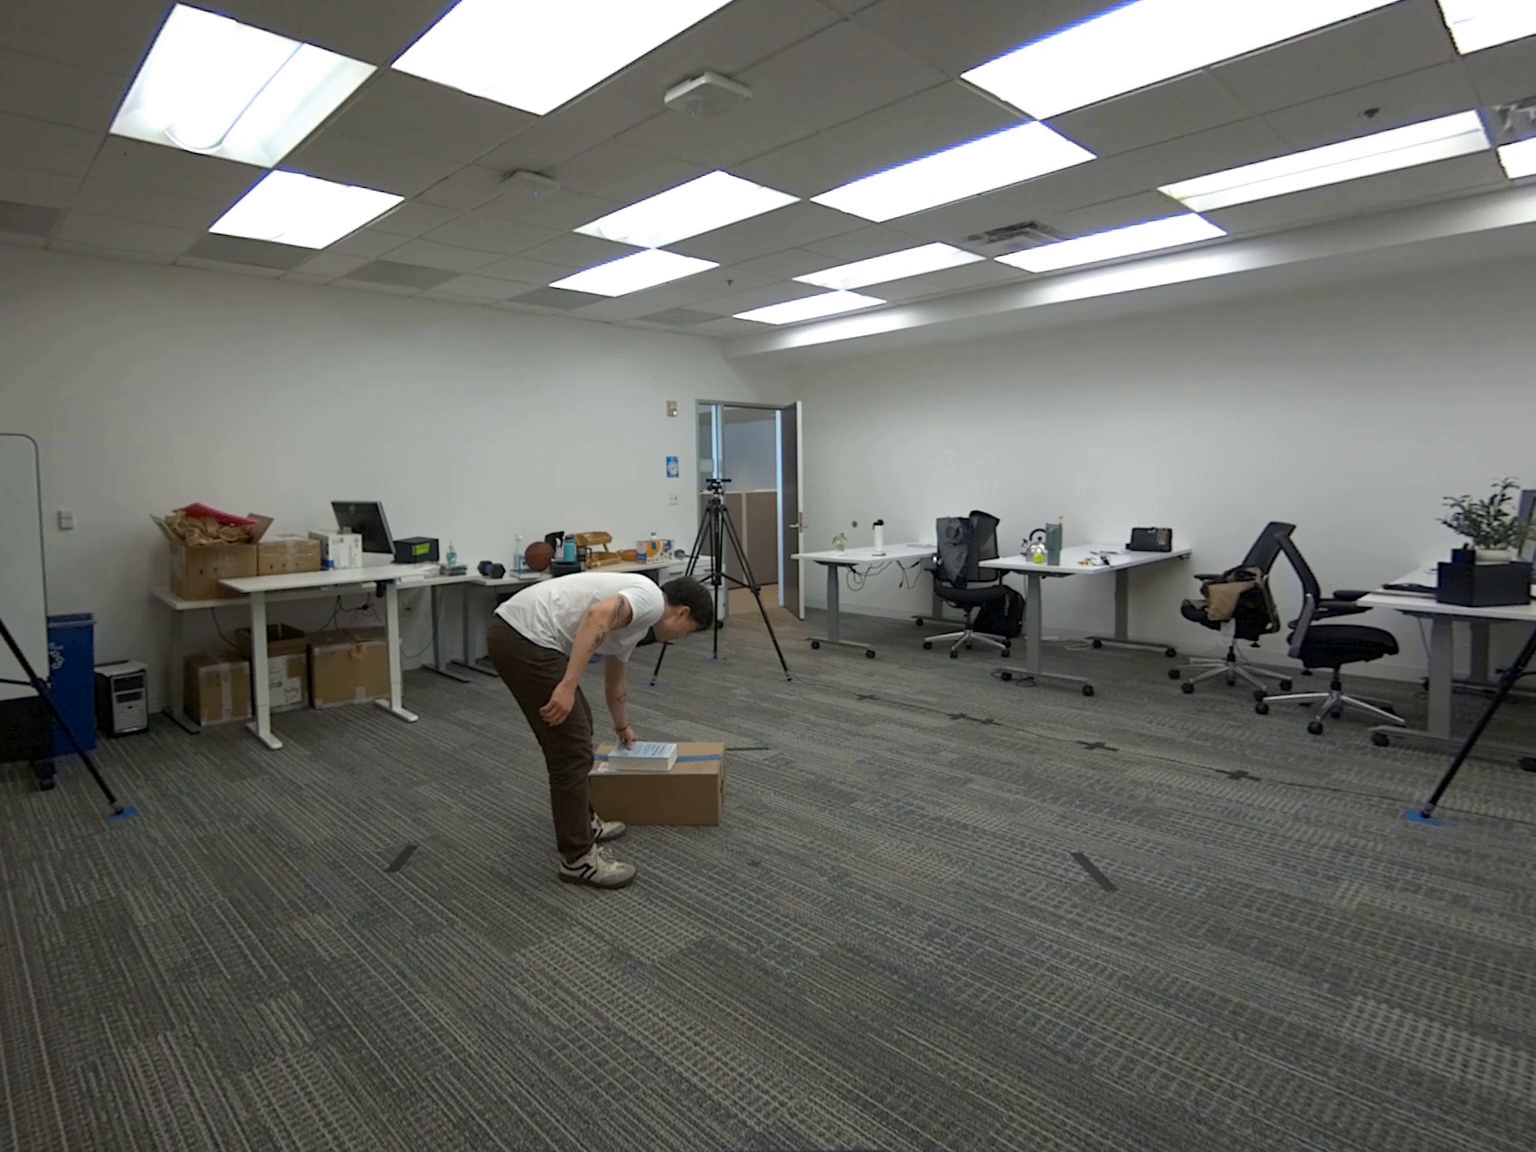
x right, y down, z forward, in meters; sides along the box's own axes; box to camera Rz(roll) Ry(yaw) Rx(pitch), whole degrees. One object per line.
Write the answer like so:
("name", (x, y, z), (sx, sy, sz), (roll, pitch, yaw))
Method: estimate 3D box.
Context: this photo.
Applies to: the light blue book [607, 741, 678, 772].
("light blue book", (-0.530, 0.760, 3.611), (0.263, 0.059, 0.191), (0, 7, 7))
